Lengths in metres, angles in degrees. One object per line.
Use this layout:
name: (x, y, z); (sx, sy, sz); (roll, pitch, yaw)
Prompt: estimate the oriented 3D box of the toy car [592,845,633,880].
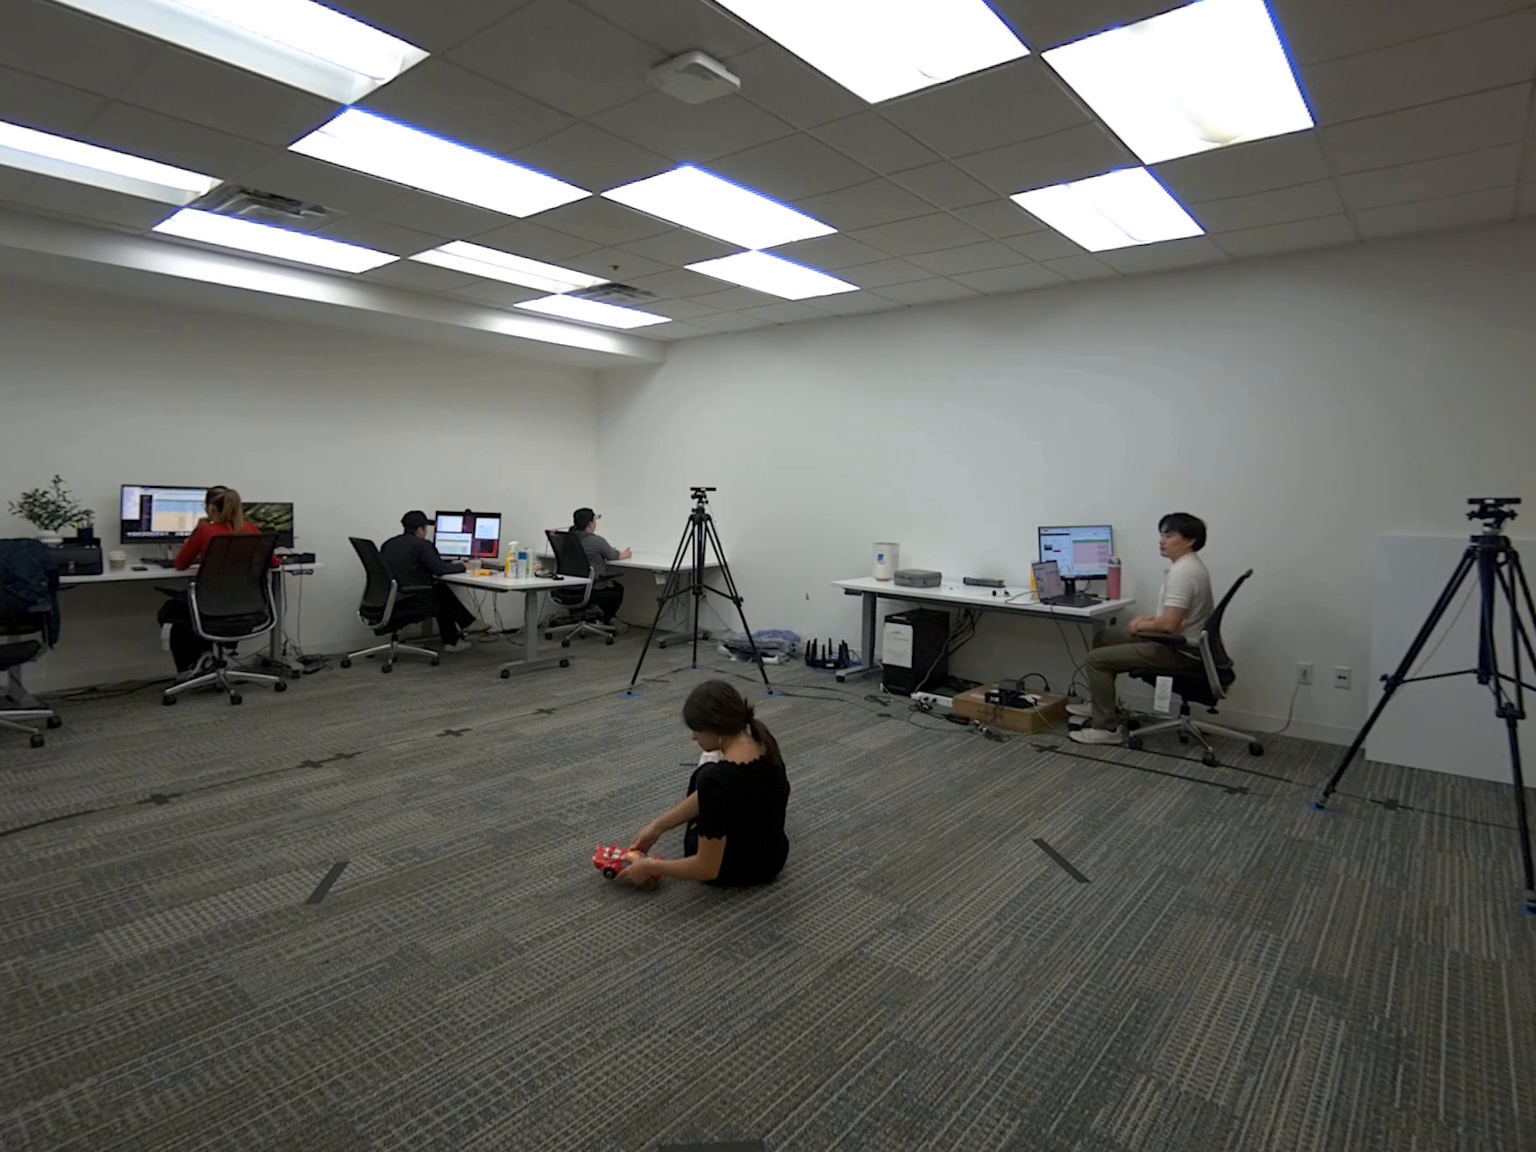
toy car: (-0.501, 1.004, 2.983); (0.255, 0.082, 0.131); (19, 18, 2)
